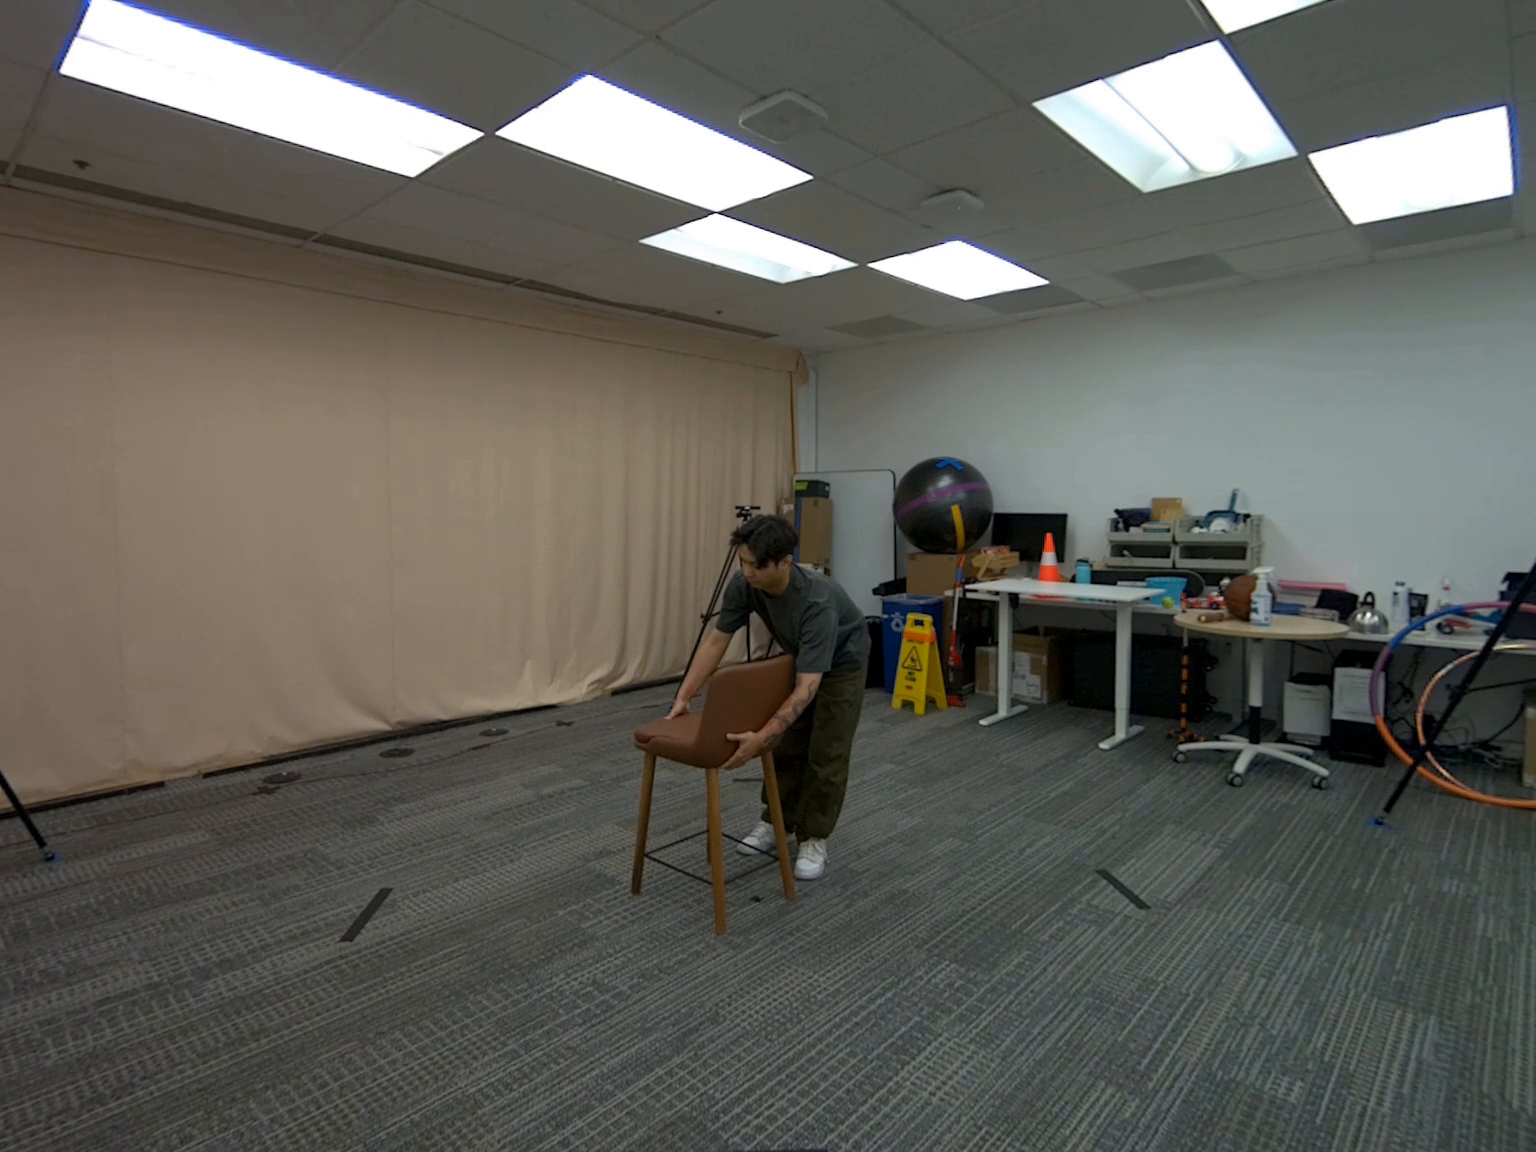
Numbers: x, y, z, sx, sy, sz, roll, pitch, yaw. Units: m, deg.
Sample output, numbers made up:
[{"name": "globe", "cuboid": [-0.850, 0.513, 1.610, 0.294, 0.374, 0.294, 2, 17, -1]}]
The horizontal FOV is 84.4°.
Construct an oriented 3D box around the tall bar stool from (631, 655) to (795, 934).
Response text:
[{"name": "tall bar stool", "cuboid": [-0.195, 0.706, 2.987, 0.483, 0.887, 0.442, 4, 6, 44]}]
